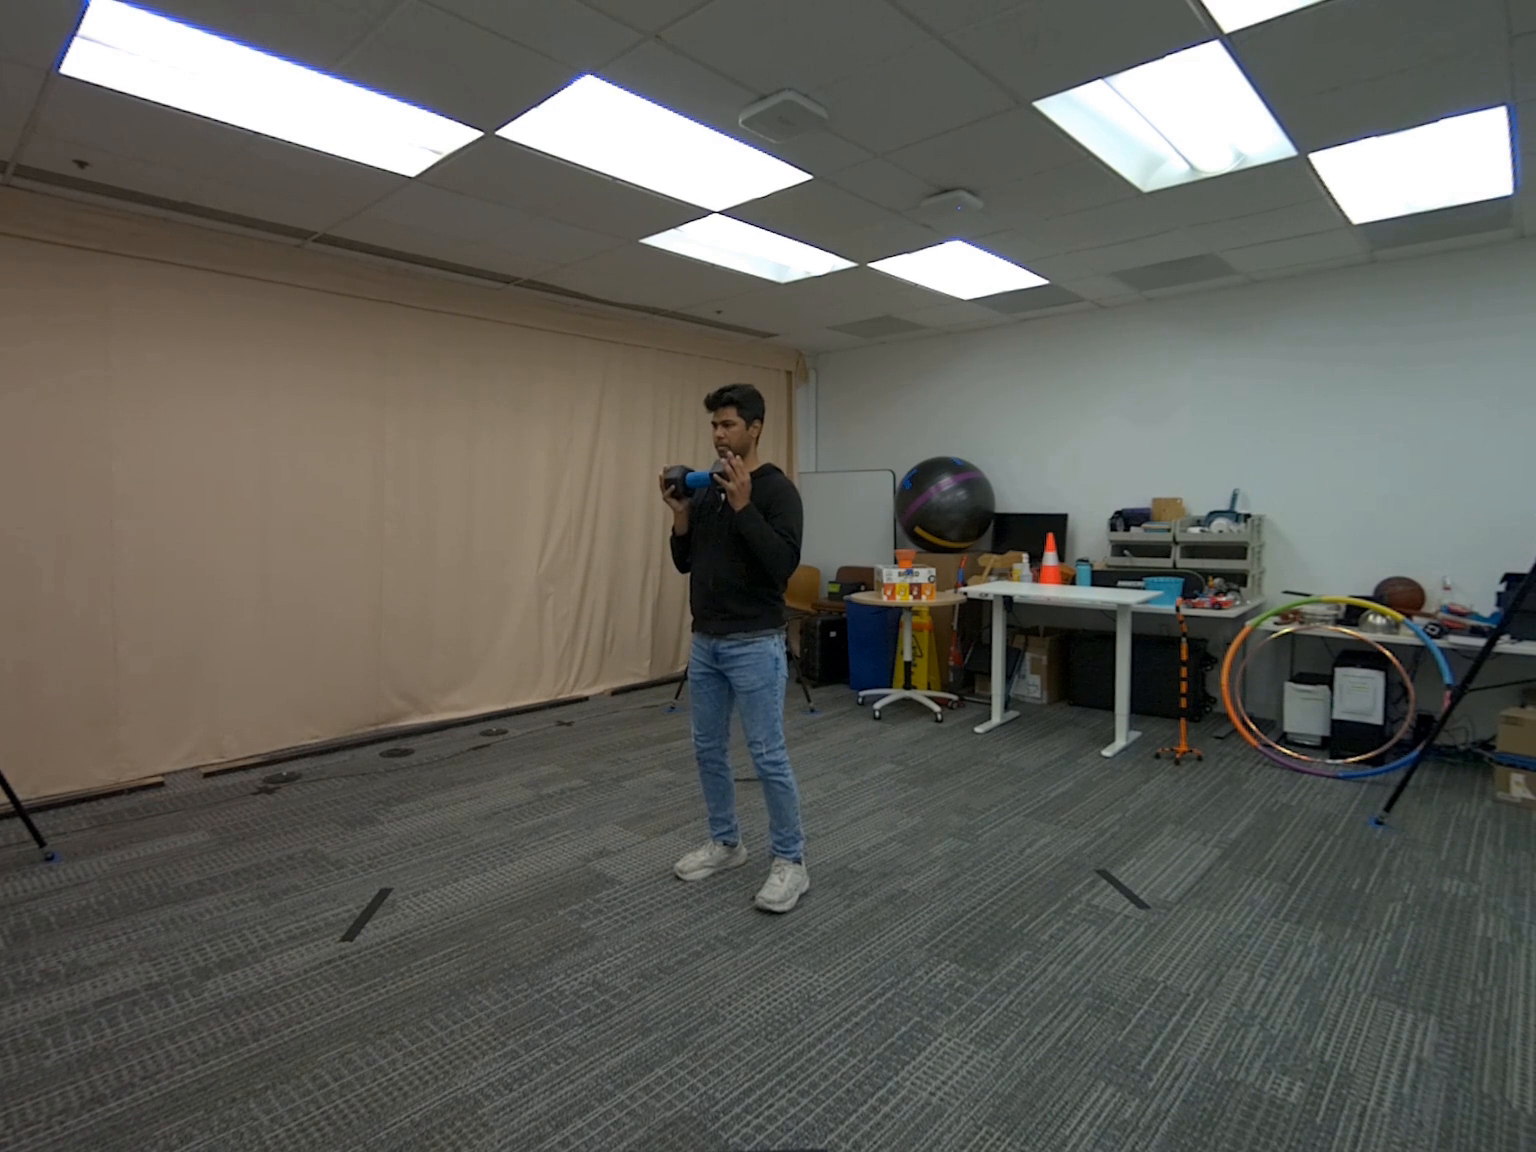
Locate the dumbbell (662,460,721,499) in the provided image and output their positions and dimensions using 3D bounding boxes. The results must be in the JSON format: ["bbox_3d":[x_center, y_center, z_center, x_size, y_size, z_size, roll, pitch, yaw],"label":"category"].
[{"bbox_3d":[-0.211,-0.334,2.949,0.302,0.121,0.107,-3,18,39],"label":"dumbbell"}]
